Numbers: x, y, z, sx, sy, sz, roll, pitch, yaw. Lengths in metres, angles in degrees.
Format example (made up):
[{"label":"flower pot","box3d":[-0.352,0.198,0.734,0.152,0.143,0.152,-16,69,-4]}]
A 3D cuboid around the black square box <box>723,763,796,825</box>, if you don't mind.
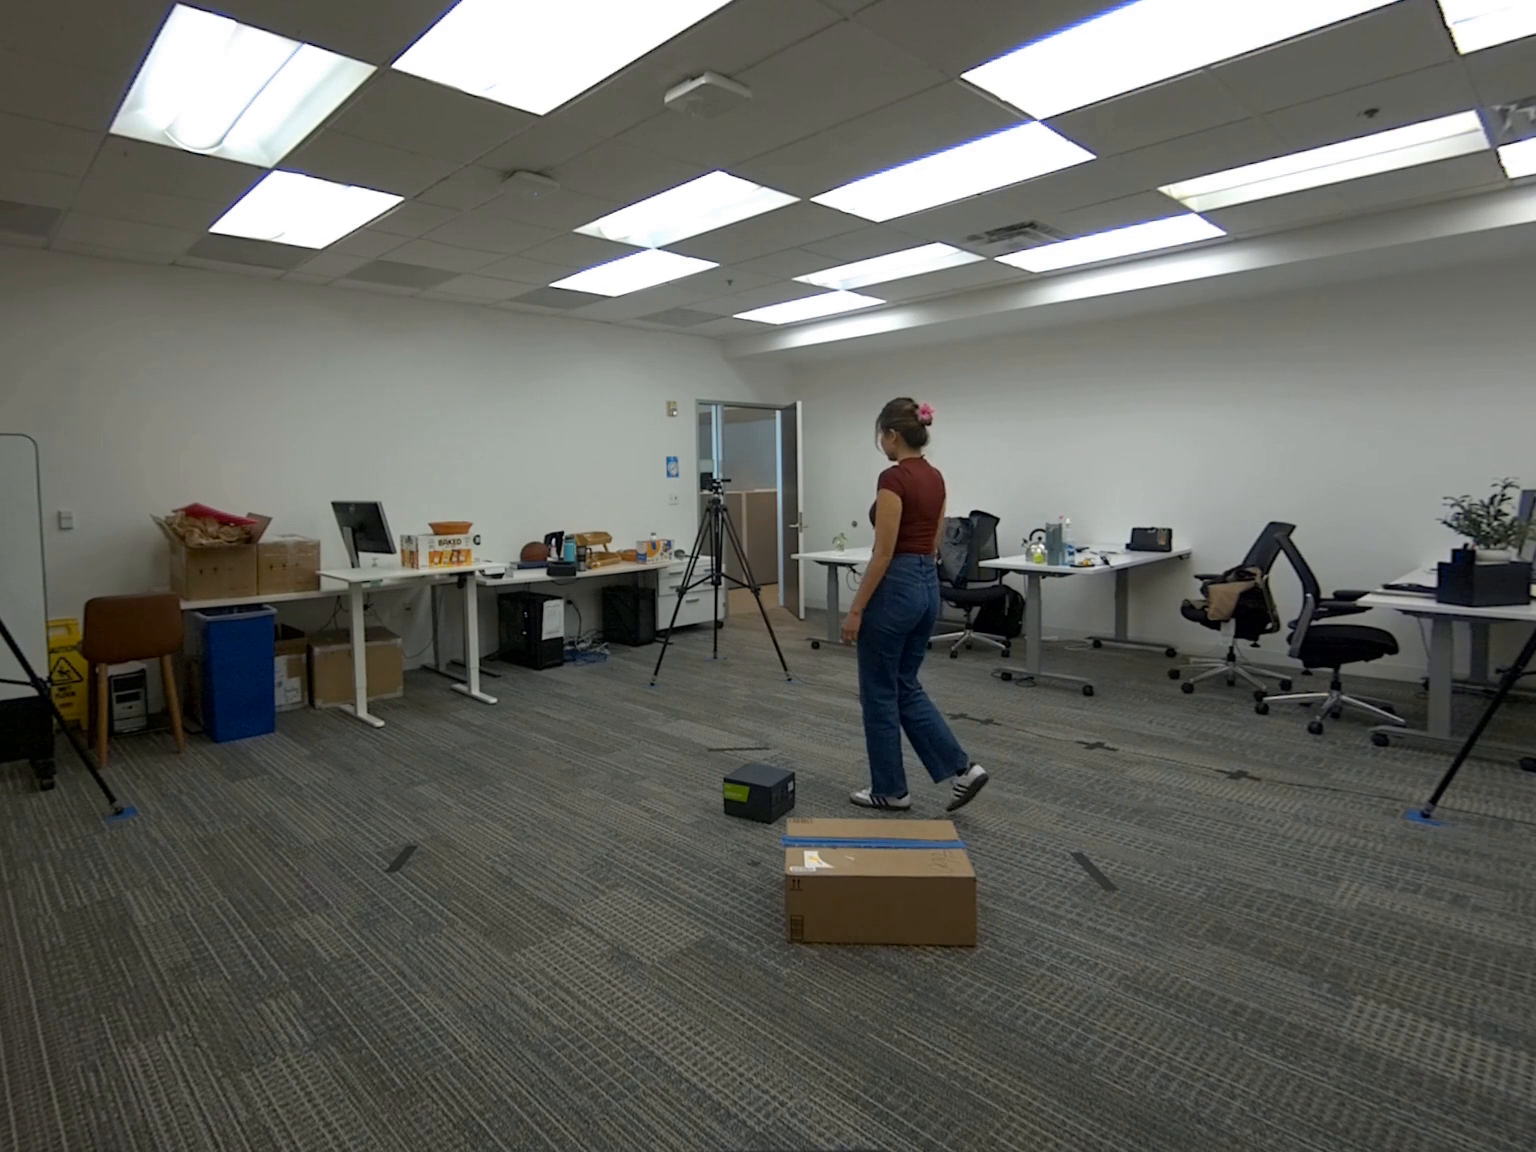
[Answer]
[{"label":"black square box","box3d":[-0.037,0.903,3.590,0.234,0.155,0.212,3,7,30]}]
